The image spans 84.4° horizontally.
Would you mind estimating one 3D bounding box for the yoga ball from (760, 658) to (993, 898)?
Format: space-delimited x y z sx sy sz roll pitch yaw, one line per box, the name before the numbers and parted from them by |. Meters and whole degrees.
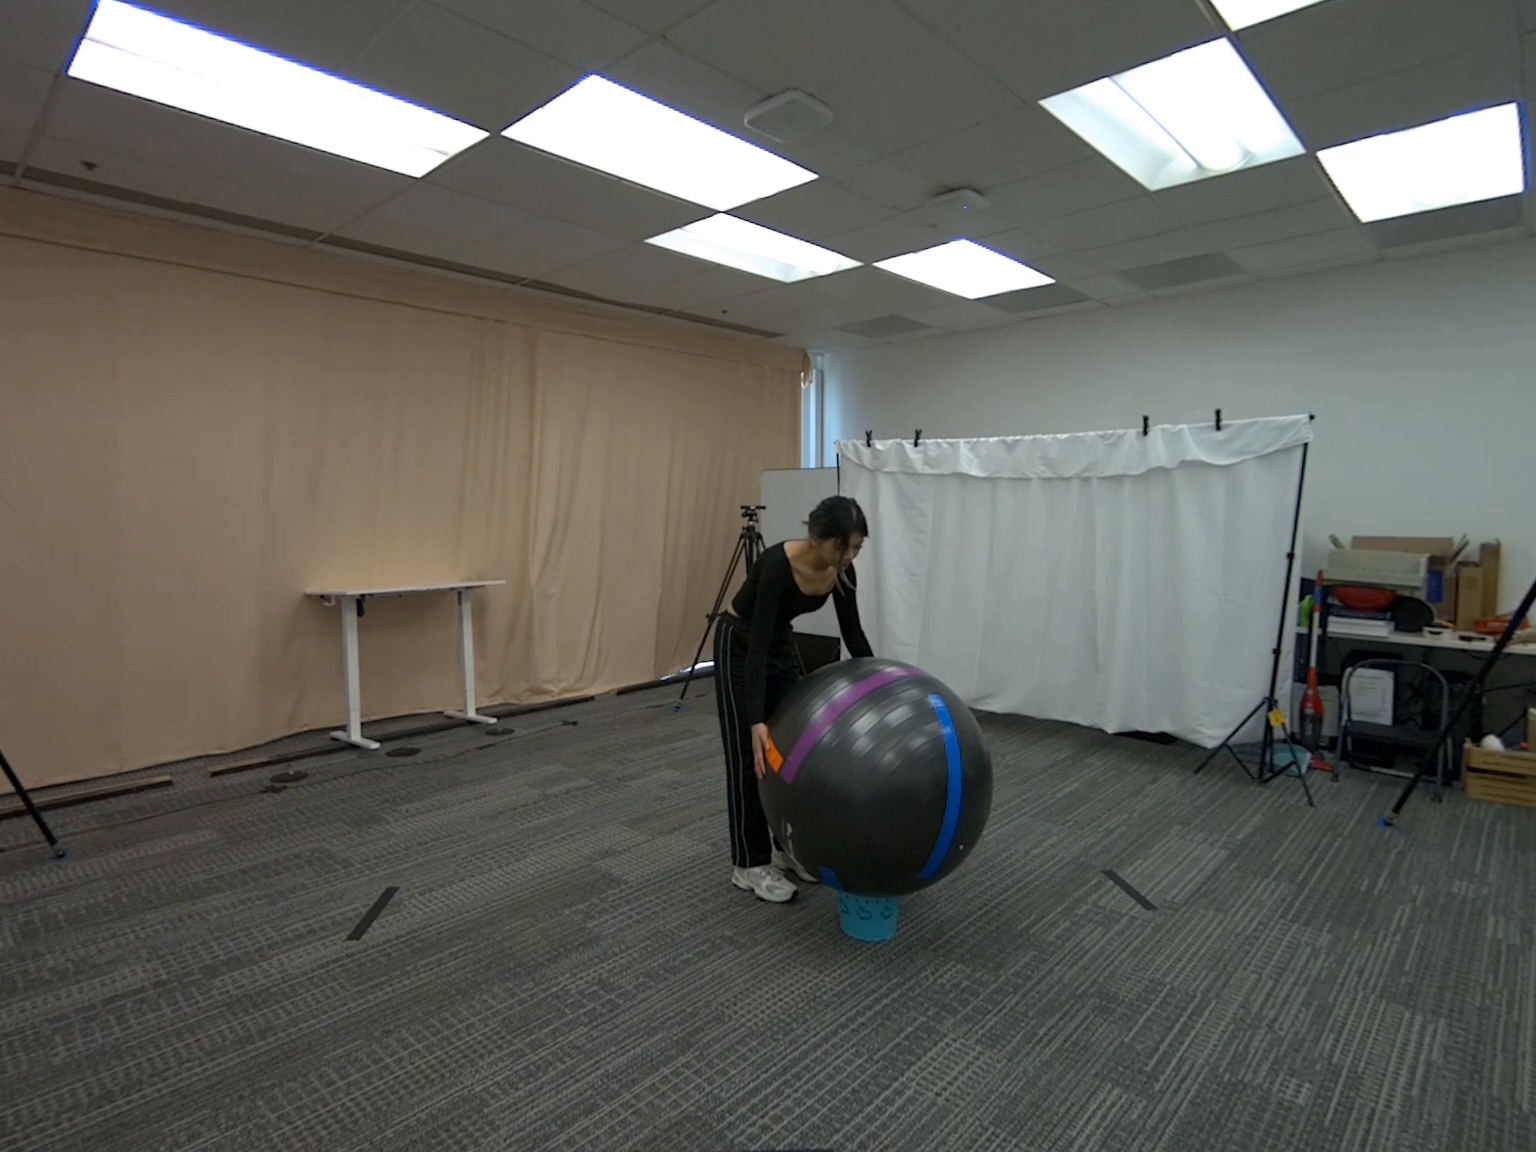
yoga ball | 0.353 0.656 2.762 0.757 0.756 0.760 0 4 -2
